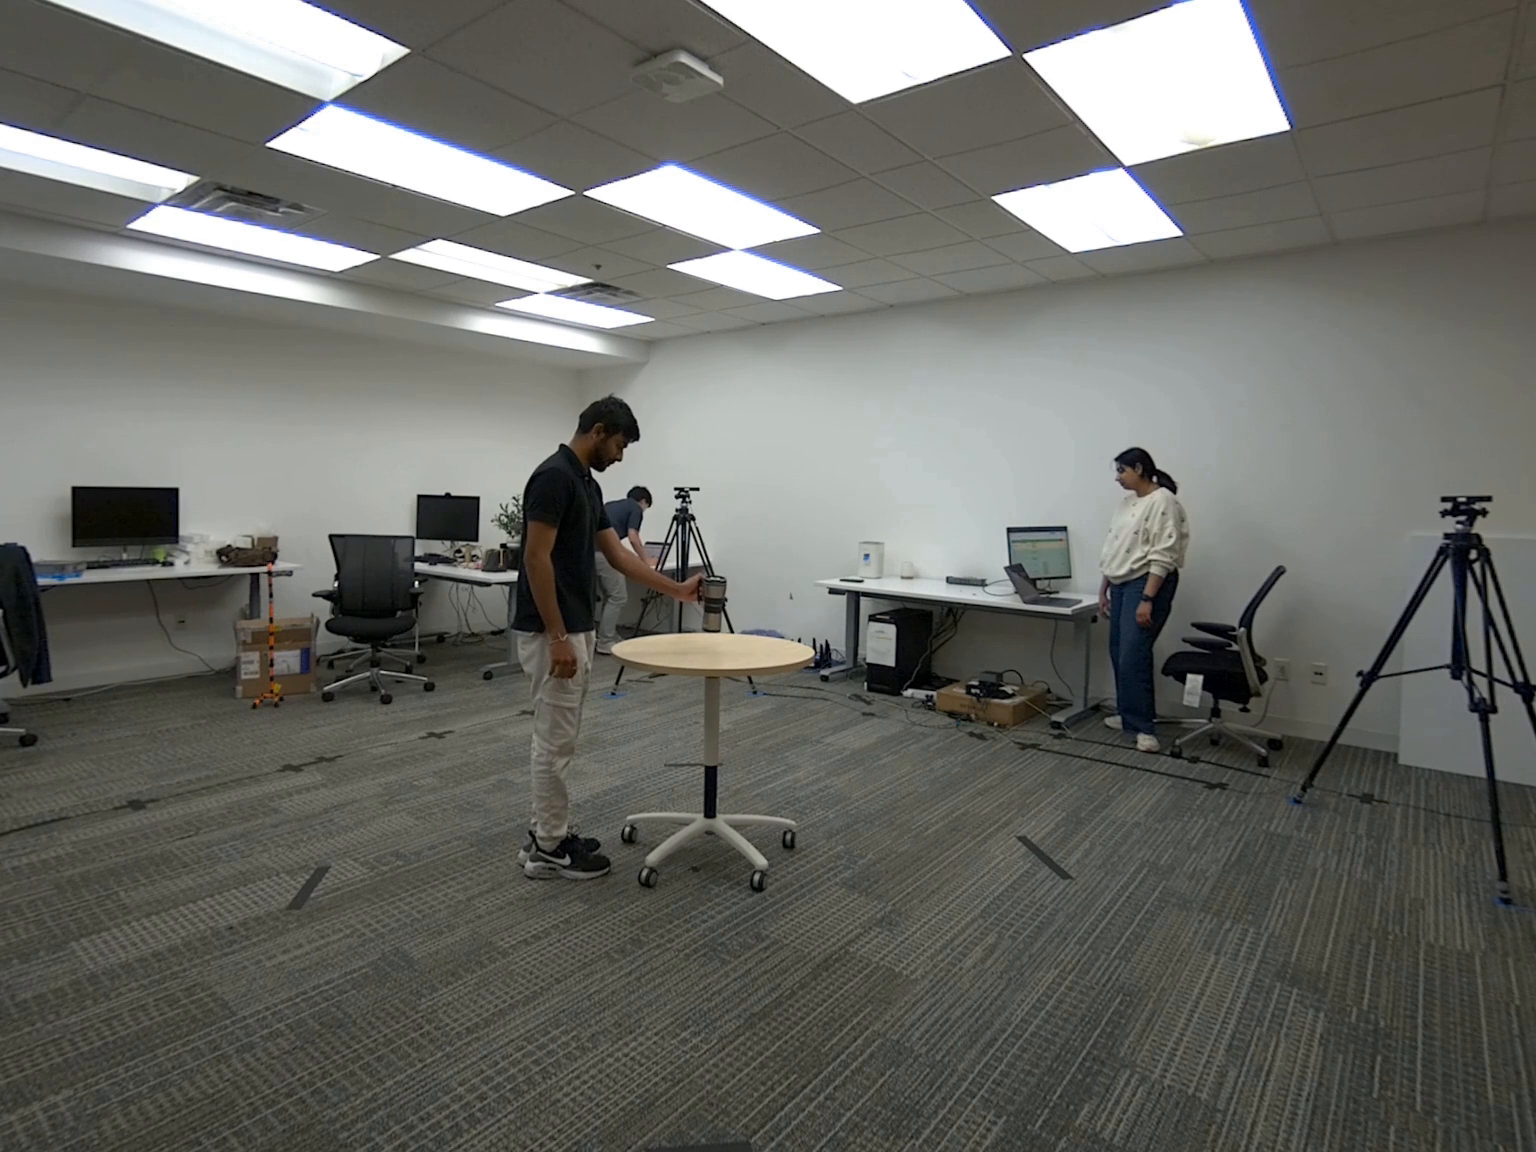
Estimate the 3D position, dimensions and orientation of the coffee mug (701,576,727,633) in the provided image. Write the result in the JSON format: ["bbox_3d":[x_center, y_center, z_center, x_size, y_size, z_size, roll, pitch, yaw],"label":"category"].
[{"bbox_3d":[-0.229,0.105,3.199,0.085,0.201,0.126,-4,11,-34],"label":"coffee mug"}]
